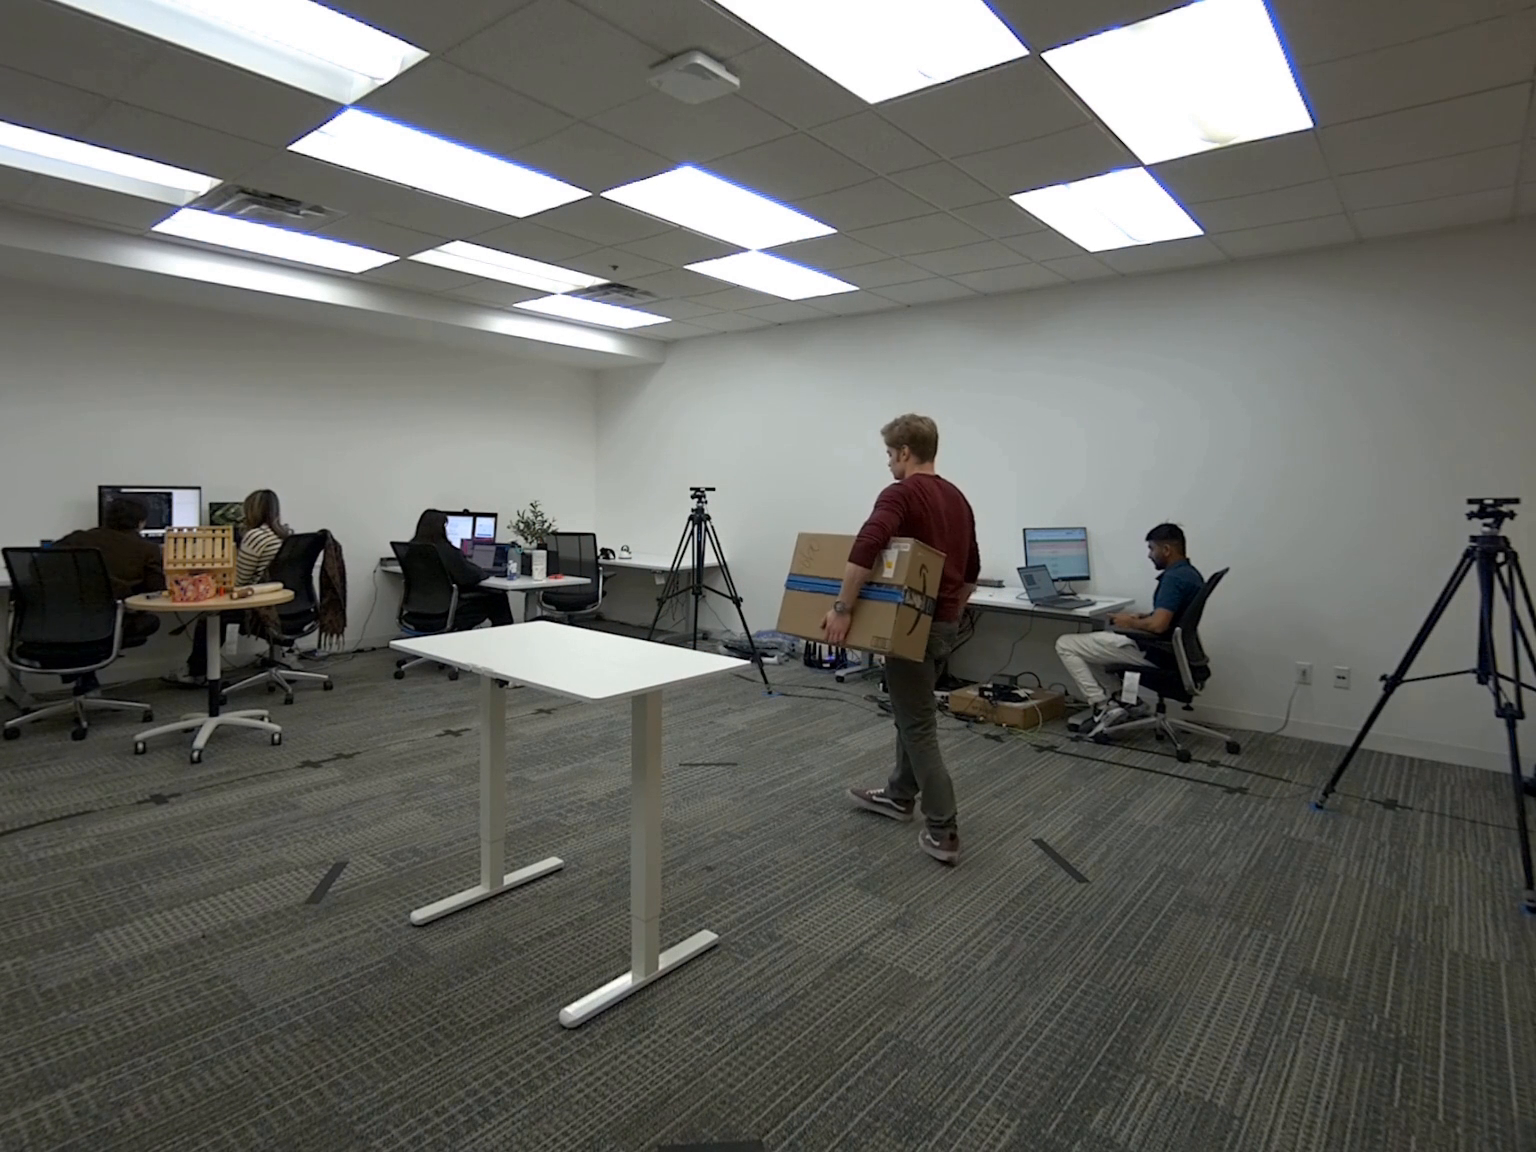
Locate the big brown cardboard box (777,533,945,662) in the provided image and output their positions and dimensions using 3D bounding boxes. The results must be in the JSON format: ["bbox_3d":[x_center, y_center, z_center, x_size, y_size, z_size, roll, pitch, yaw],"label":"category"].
[{"bbox_3d":[0.340,0.067,3.279,0.224,0.420,0.609,20,-10,-41],"label":"big brown cardboard box"}]
